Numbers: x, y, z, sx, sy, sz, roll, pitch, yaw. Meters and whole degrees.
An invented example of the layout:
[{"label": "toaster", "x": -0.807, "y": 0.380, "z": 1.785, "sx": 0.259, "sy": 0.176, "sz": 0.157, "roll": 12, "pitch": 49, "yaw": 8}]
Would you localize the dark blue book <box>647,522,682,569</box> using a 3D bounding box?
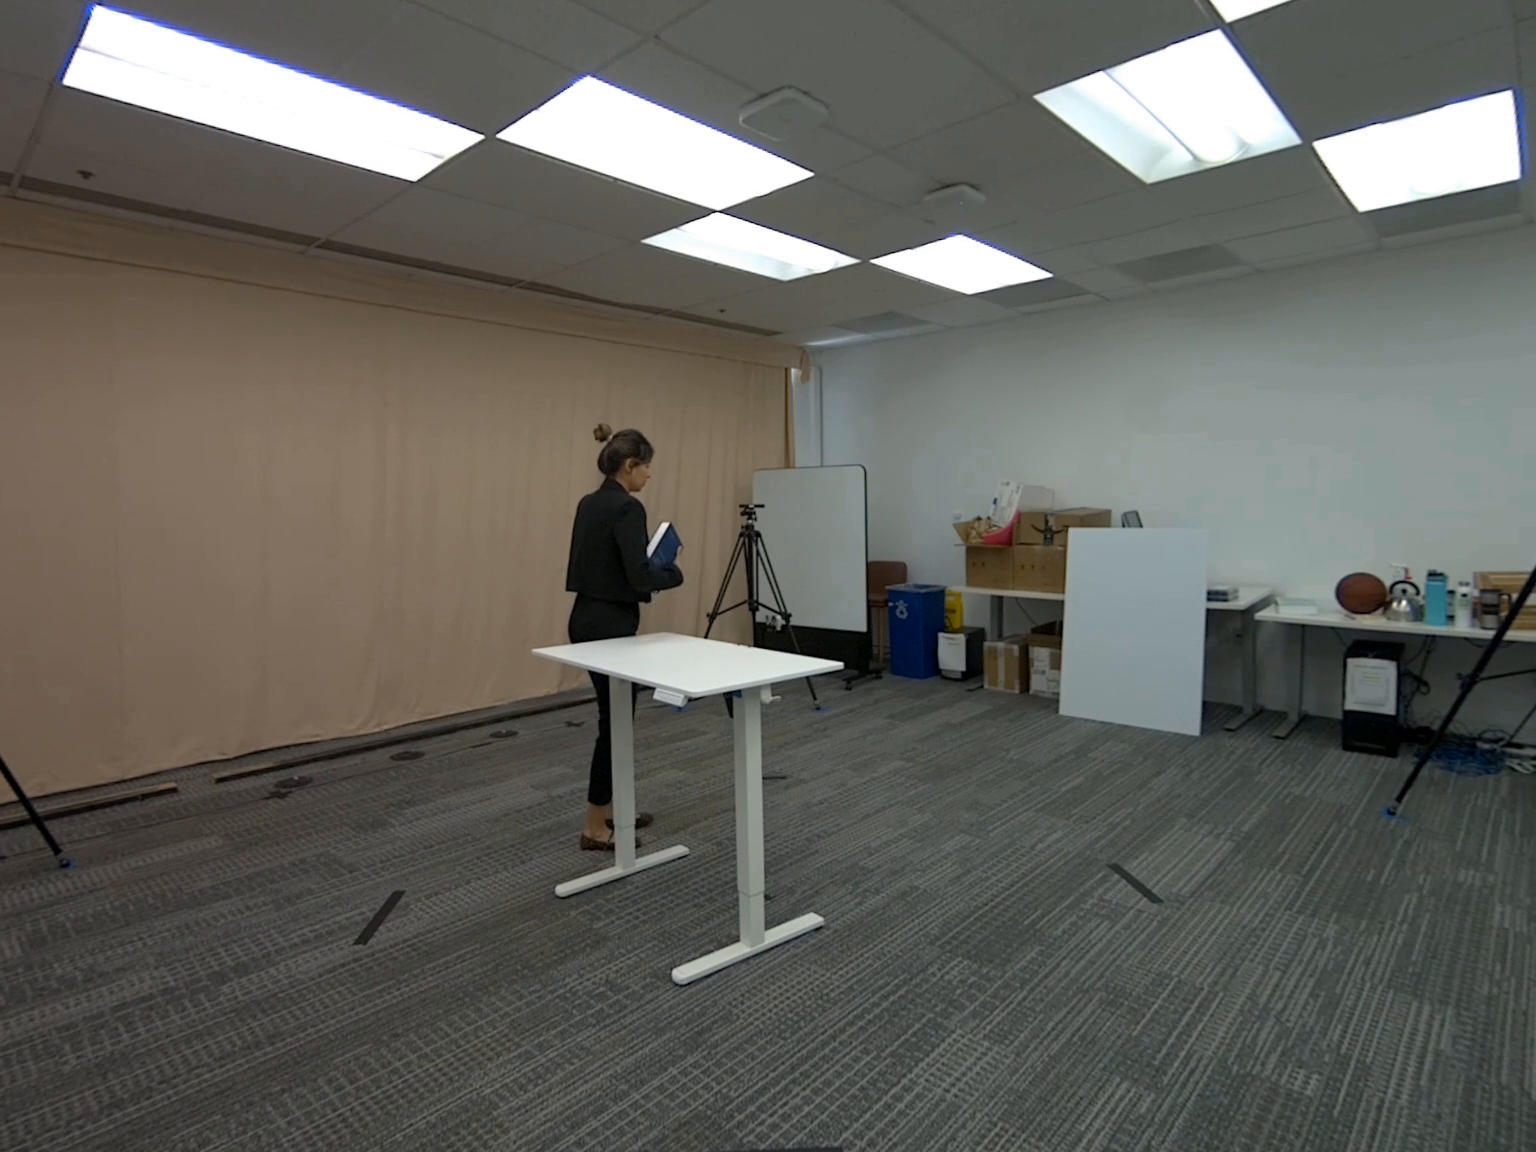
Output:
[{"label": "dark blue book", "x": -0.430, "y": -0.067, "z": 3.360, "sx": 0.046, "sy": 0.246, "sz": 0.159, "roll": 9, "pitch": -36, "yaw": 23}]
